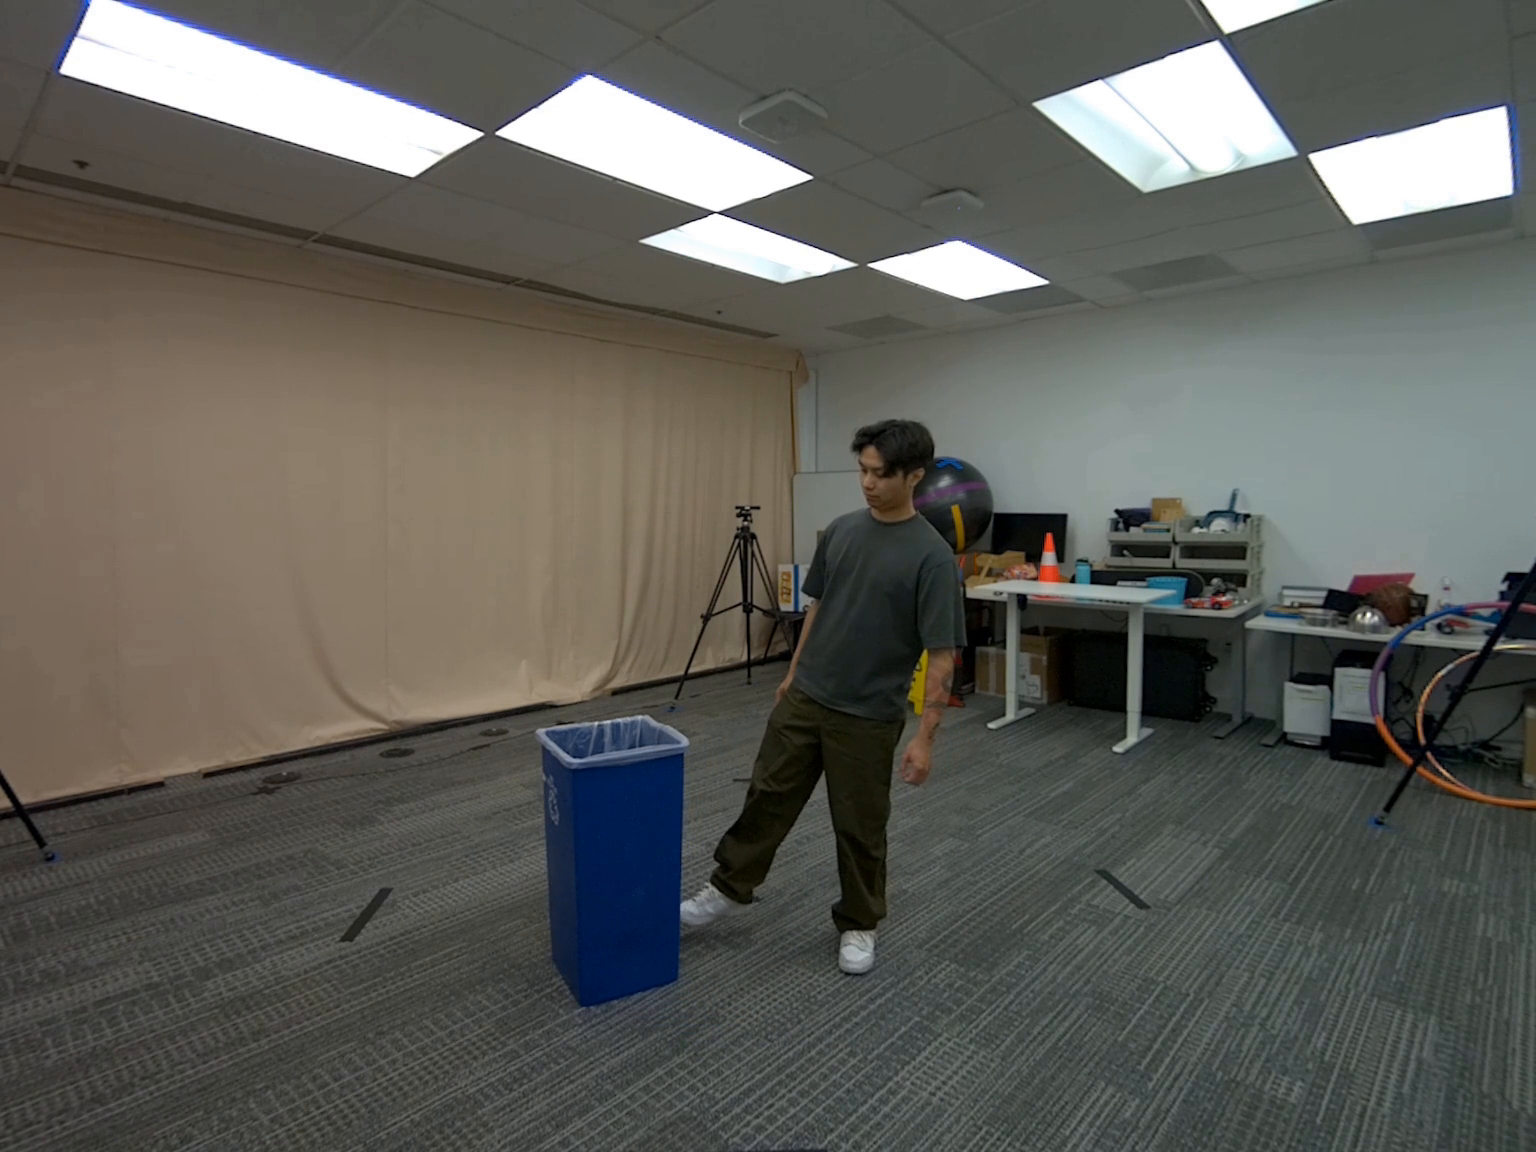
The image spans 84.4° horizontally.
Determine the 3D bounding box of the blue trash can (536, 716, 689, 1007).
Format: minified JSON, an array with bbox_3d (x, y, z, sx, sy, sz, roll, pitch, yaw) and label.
[{"bbox_3d":[-0.460,0.830,2.521,0.364,0.711,0.389,-3,5,-31],"label":"blue trash can"}]
